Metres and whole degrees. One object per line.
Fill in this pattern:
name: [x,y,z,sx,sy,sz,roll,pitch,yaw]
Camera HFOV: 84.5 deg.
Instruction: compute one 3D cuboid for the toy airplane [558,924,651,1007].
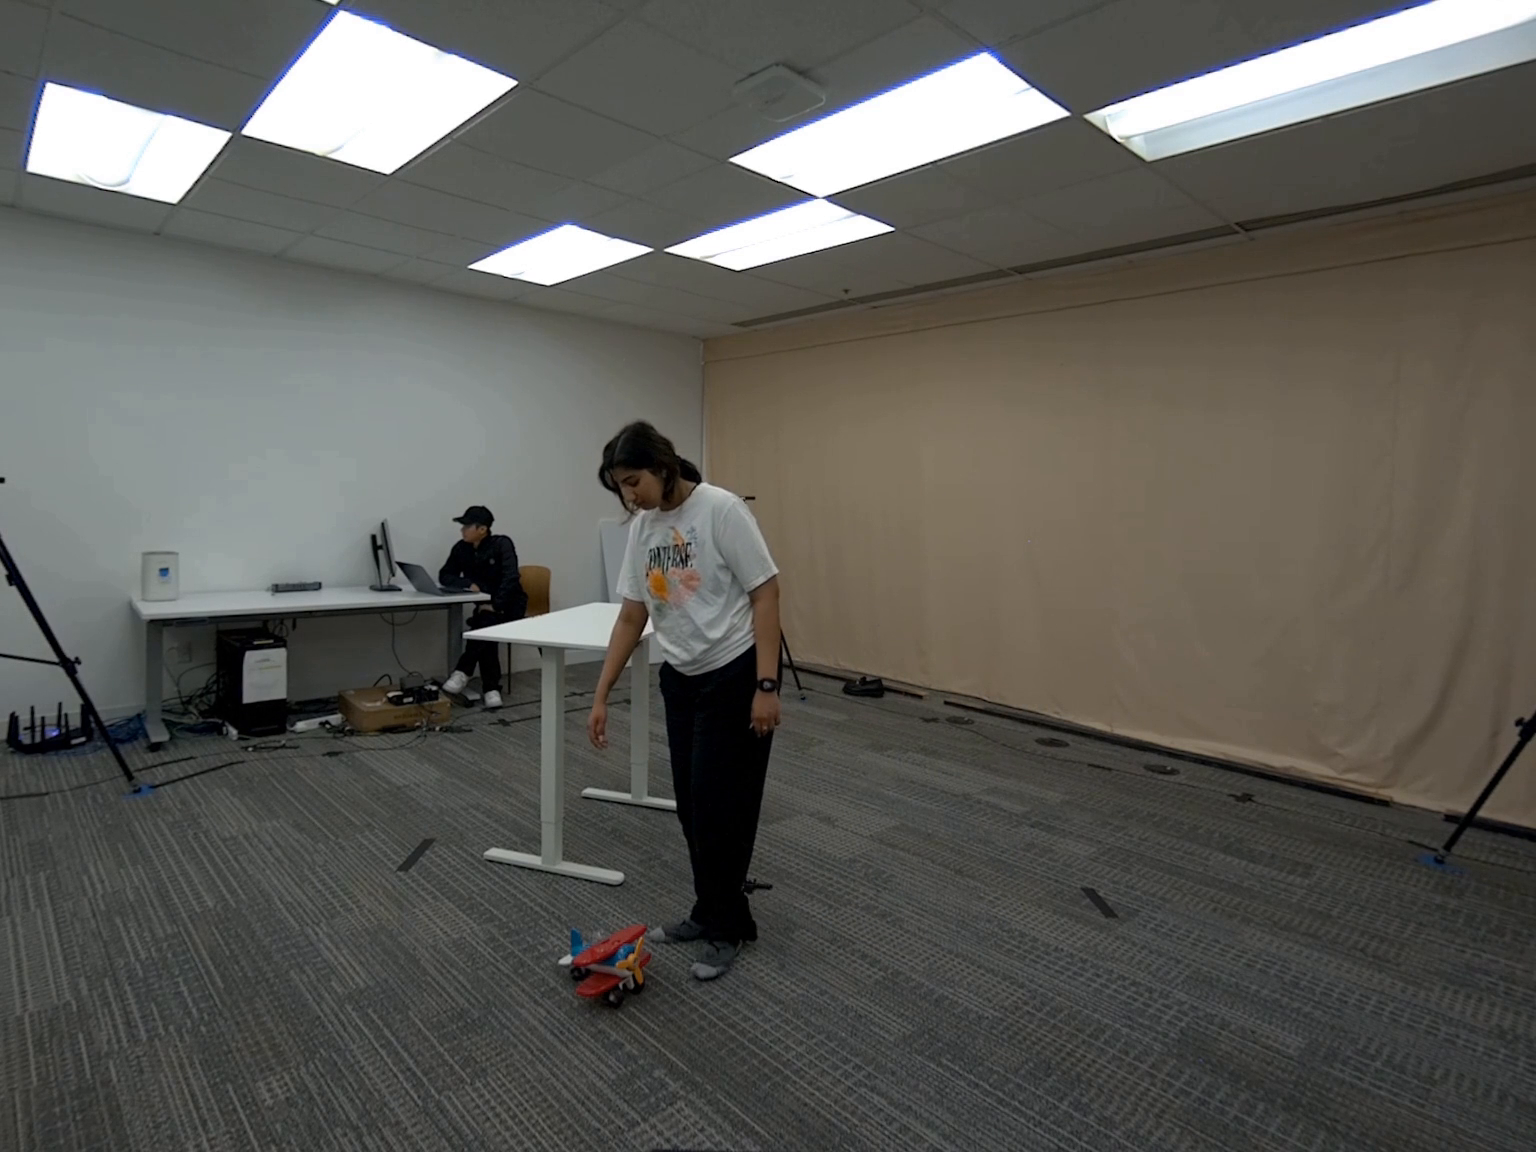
toy airplane: [-0.481,1.092,2.352,0.261,0.156,0.250,2,6,8]
